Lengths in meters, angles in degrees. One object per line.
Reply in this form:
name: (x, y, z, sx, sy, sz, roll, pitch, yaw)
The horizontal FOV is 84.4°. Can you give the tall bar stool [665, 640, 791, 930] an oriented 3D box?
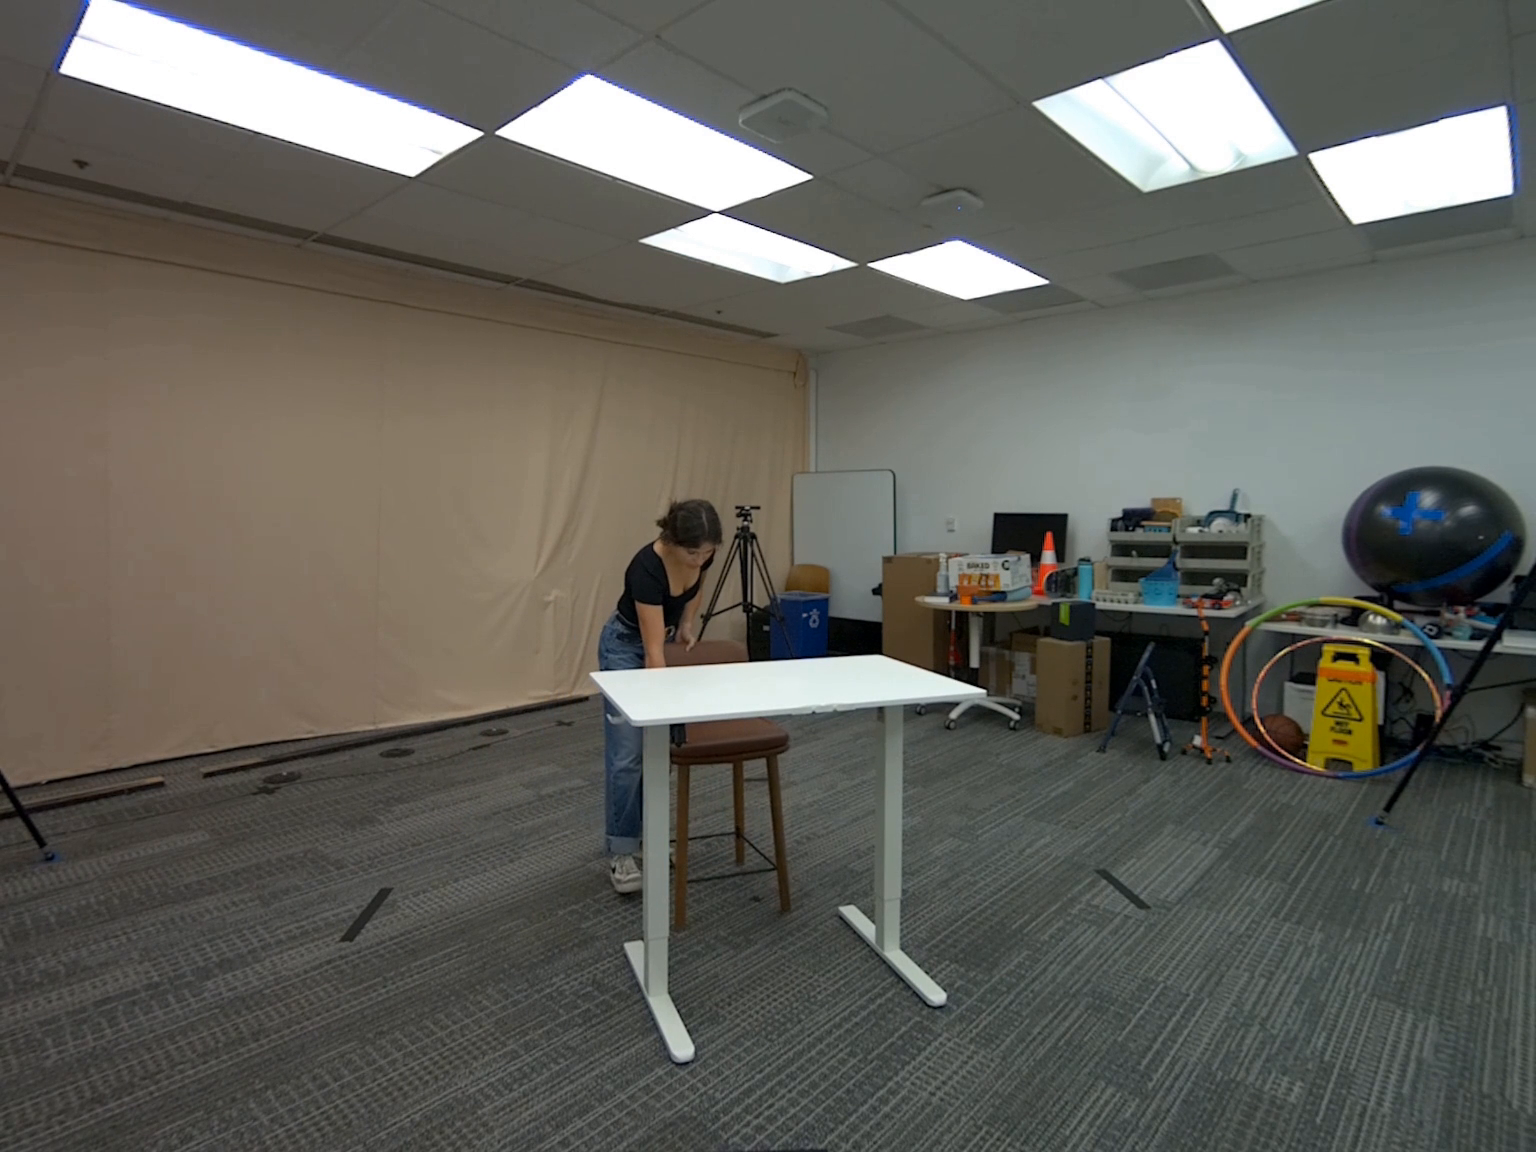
tall bar stool: (-0.190, 0.705, 3.012, 0.448, 0.889, 0.477, -2, 1, -19)
